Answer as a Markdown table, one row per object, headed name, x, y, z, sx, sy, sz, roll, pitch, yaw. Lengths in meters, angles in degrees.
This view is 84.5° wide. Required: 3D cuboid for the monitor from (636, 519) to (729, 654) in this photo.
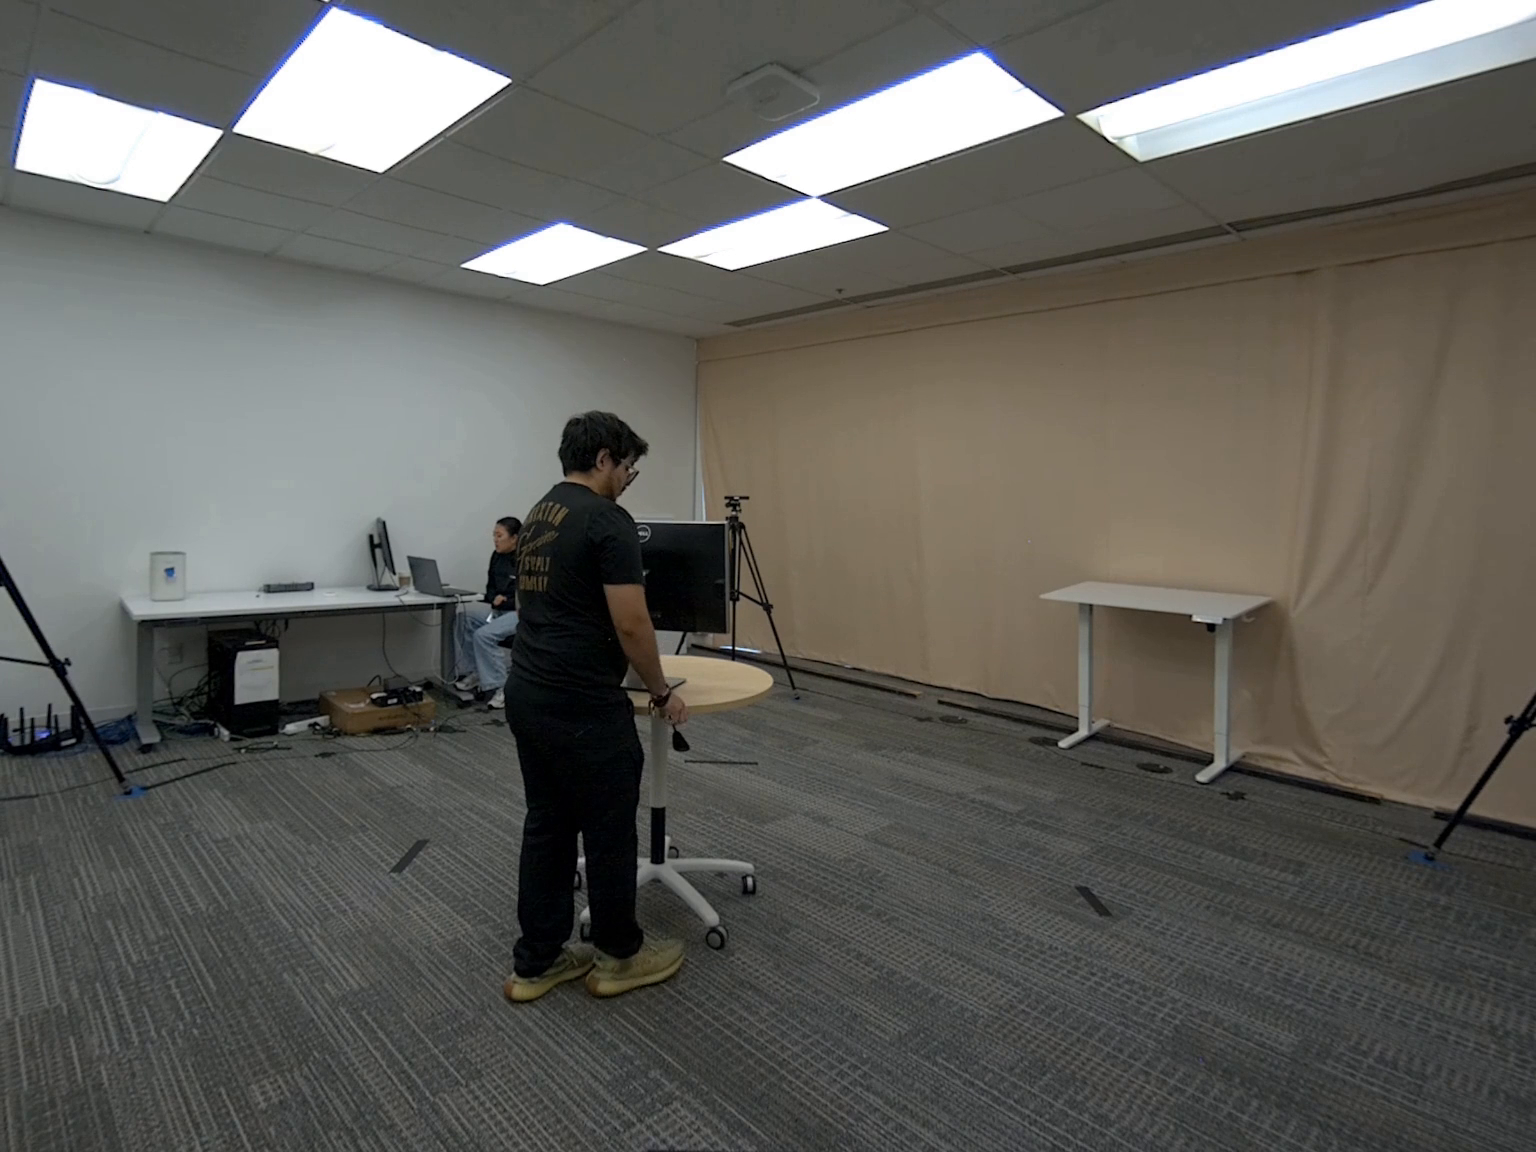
| name | x | y | z | sx | sy | sz | roll | pitch | yaw |
| --- | --- | --- | --- | --- | --- | --- | --- | --- | --- |
| monitor | -0.415 | 0.097 | 2.701 | 0.573 | 0.551 | 0.208 | 2 | 6 | 17 |
